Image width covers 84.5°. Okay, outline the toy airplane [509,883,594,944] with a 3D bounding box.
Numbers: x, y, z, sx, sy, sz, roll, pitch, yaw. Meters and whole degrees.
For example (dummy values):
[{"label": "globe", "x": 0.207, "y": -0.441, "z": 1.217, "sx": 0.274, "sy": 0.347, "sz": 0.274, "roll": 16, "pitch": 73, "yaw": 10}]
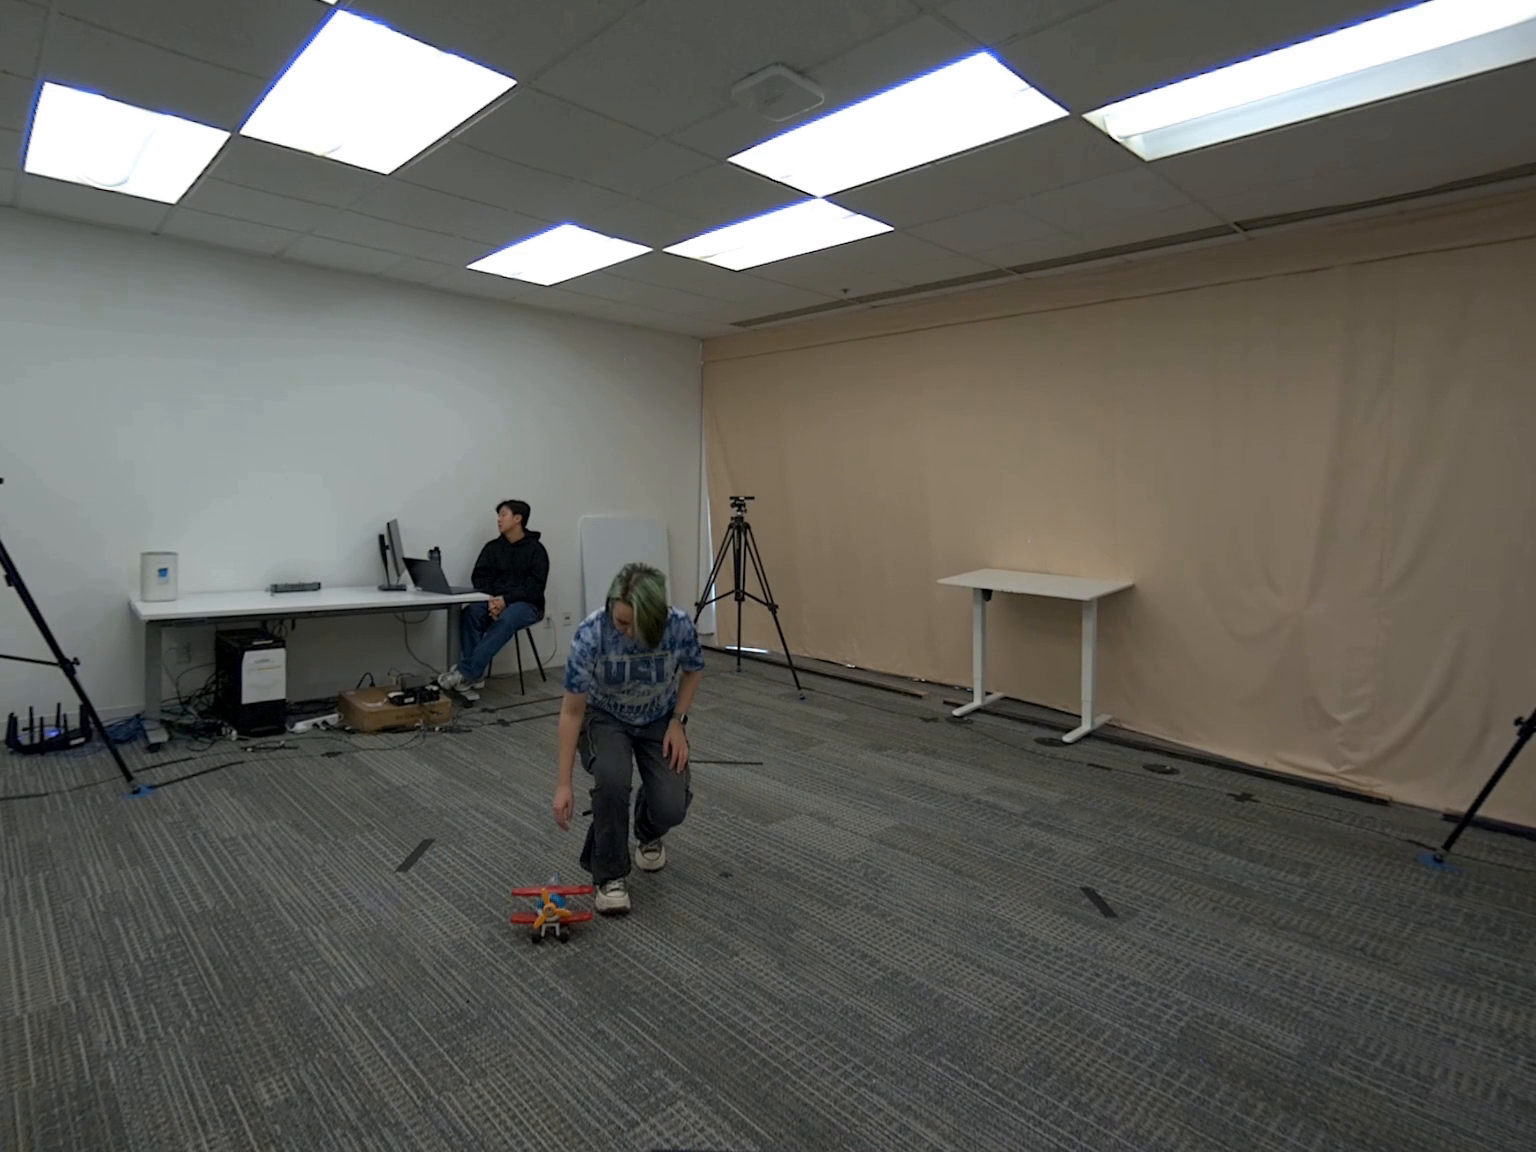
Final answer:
[{"label": "toy airplane", "x": -0.714, "y": 1.060, "z": 2.692, "sx": 0.246, "sy": 0.156, "sz": 0.265, "roll": -2, "pitch": 6, "yaw": -34}]
